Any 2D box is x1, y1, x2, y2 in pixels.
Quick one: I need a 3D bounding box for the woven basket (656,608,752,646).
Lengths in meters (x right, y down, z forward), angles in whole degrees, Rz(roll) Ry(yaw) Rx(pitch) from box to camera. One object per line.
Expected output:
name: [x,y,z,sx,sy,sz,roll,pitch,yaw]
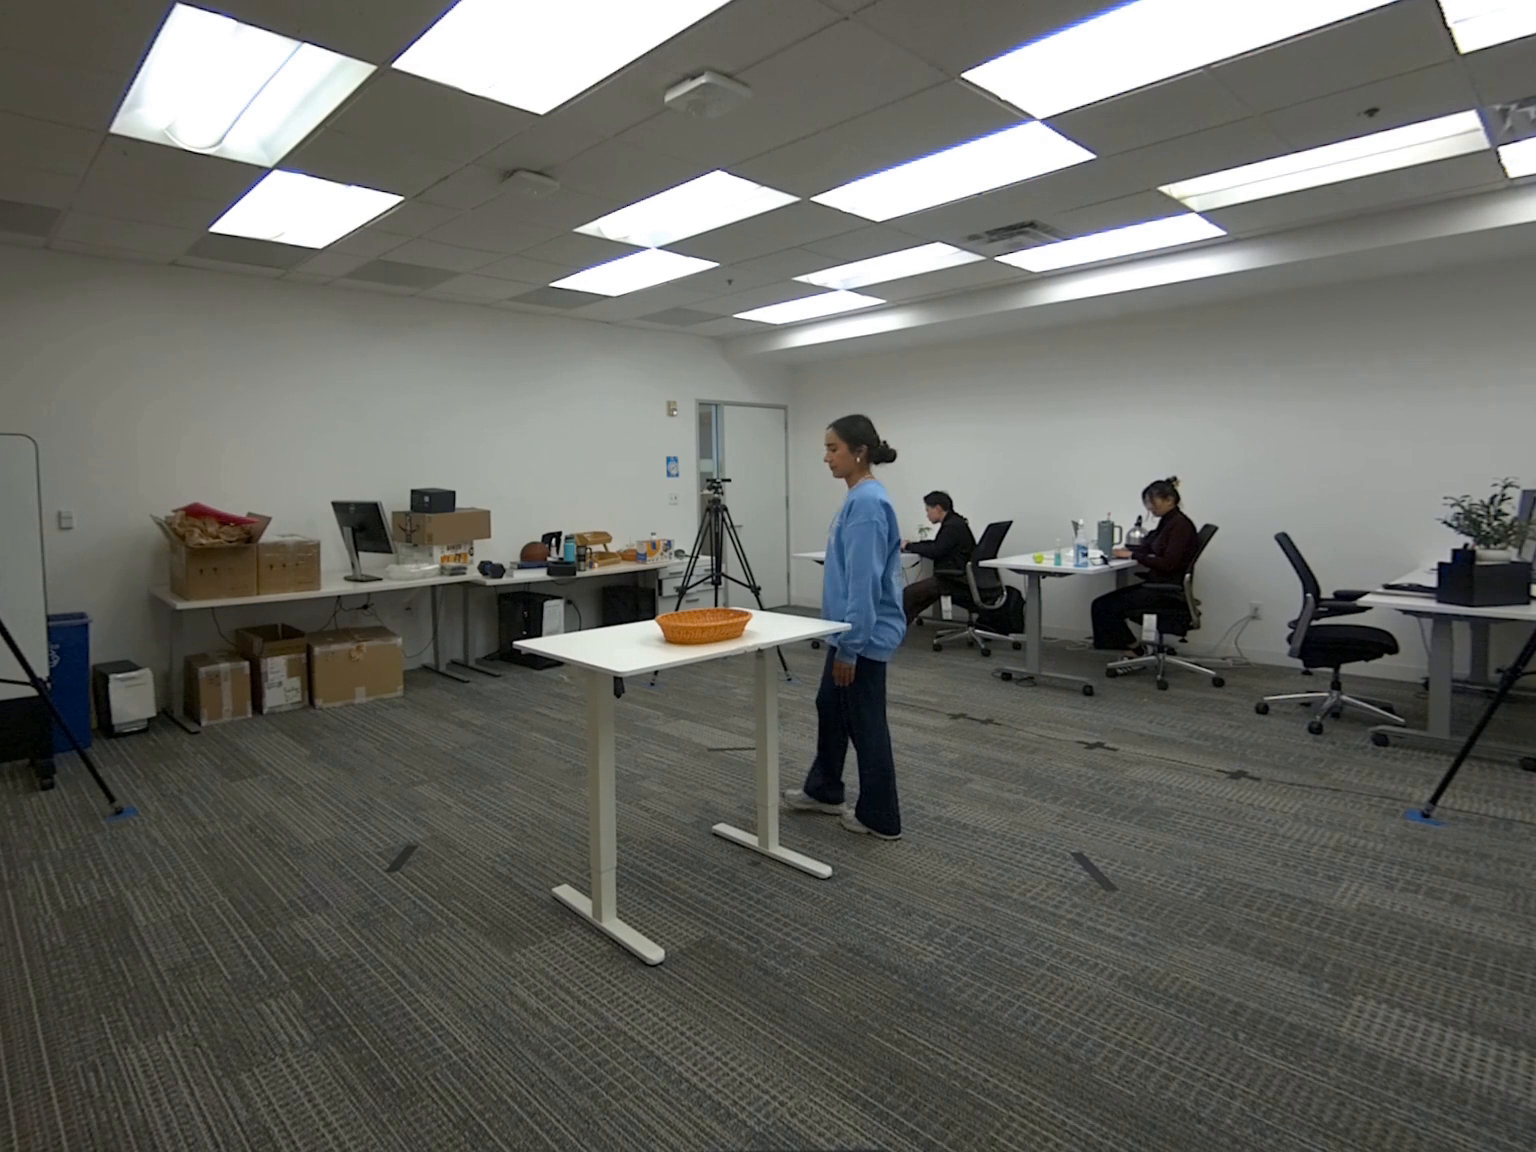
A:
woven basket: [-0.201,0.173,2.789,0.341,0.073,0.260,-6,9,-41]
